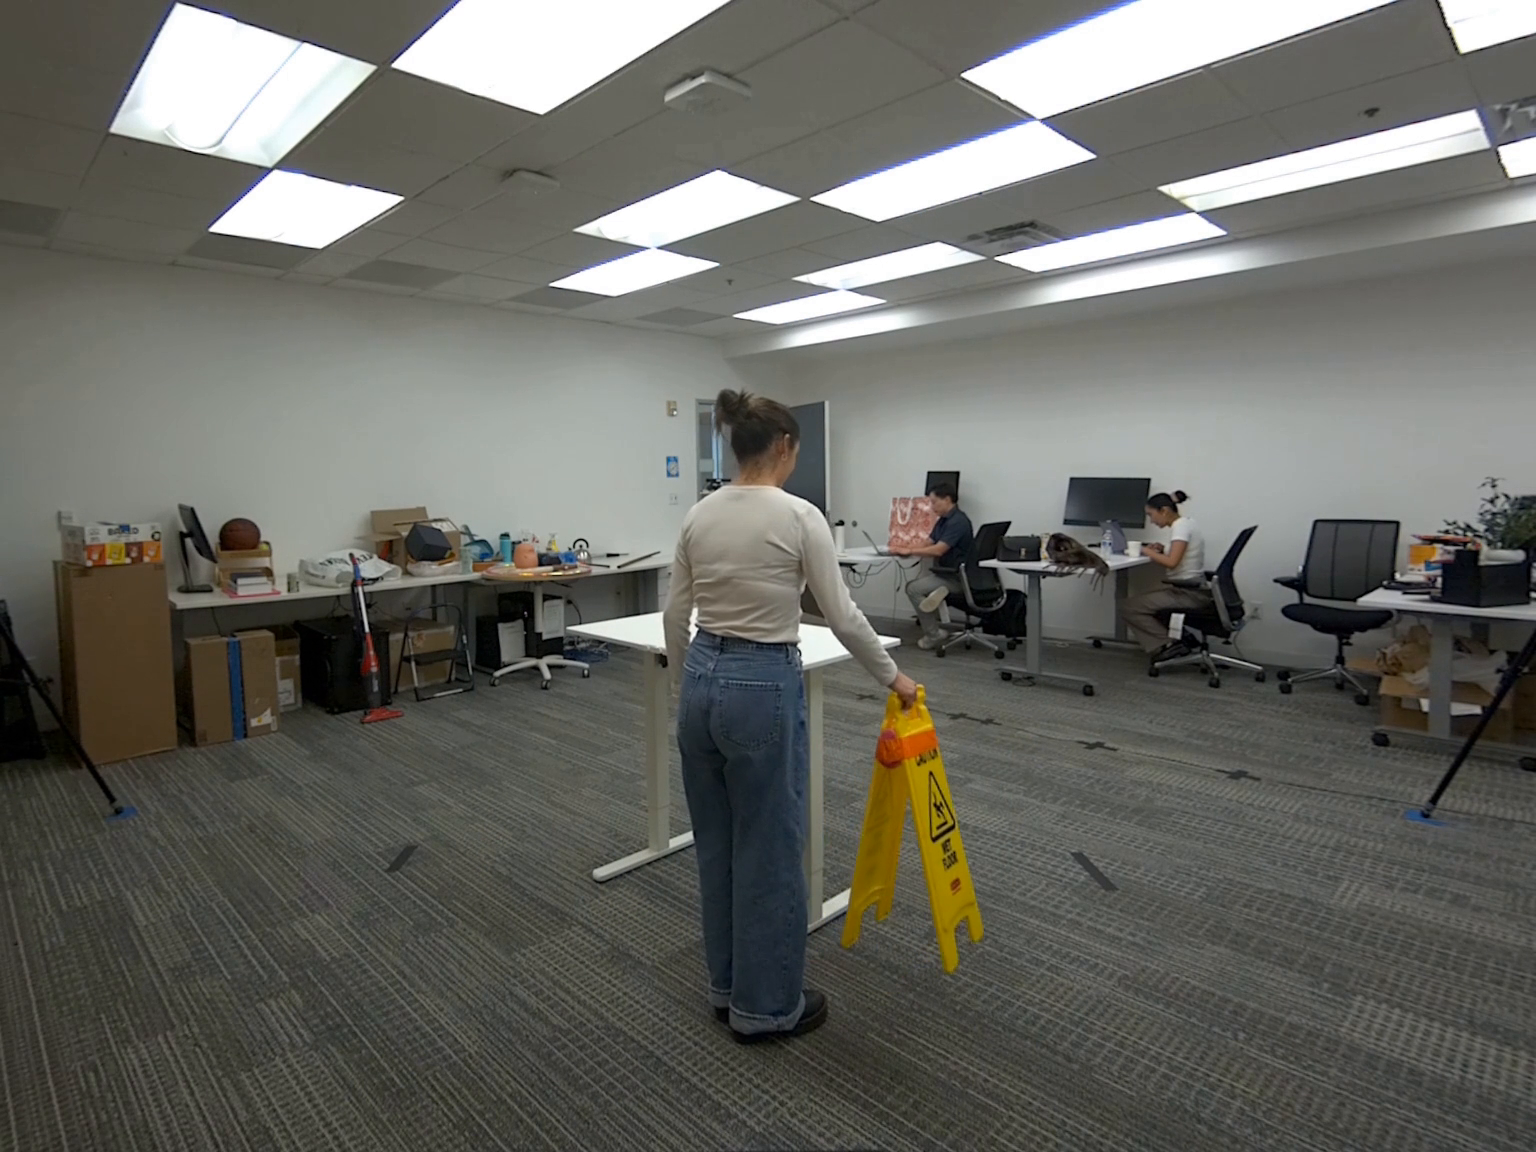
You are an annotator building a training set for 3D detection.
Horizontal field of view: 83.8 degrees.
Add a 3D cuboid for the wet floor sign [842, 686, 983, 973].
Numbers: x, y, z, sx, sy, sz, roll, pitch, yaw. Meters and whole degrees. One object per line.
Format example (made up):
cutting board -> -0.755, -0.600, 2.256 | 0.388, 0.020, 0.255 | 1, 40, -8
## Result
wet floor sign -> 0.381, 0.622, 2.224 | 0.297, 0.648, 0.275 | -3, -3, 30
